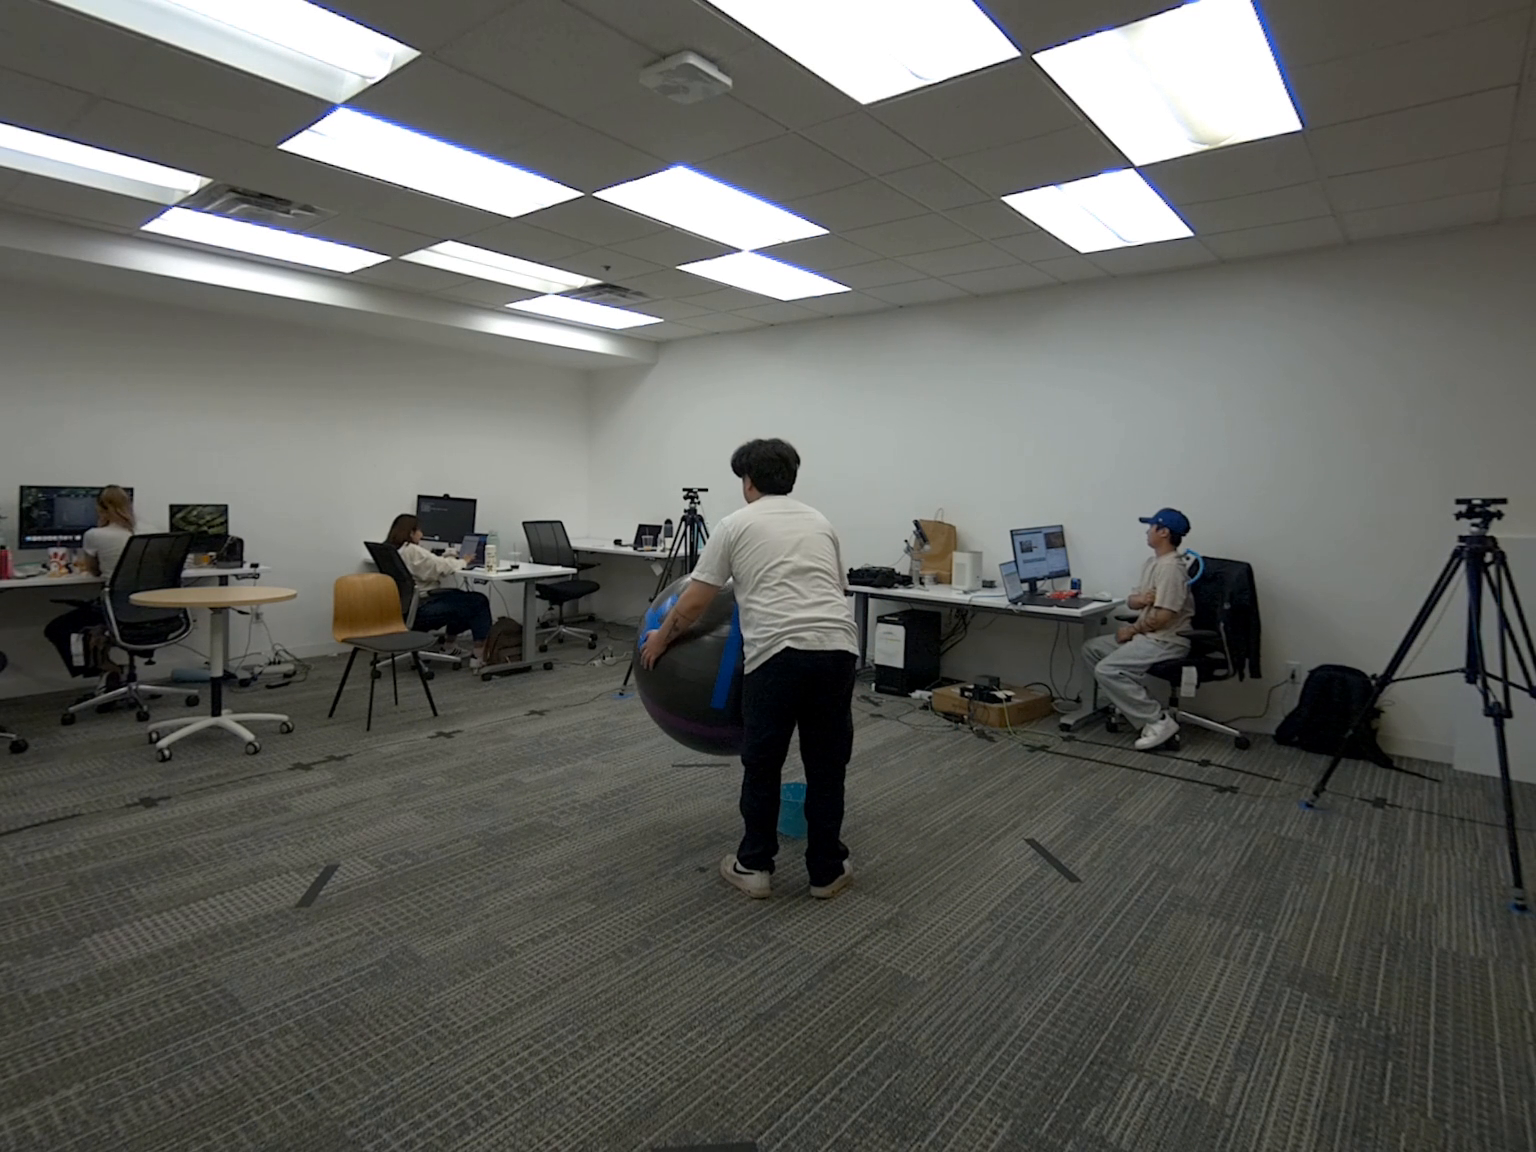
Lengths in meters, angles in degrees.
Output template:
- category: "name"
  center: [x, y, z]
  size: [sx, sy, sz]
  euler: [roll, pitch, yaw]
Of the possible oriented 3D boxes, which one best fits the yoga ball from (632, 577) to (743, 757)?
- category: "yoga ball"
  center: [-0.165, 0.348, 3.444]
  size: [0.757, 0.755, 0.762]
  euler: [1, 4, -2]
